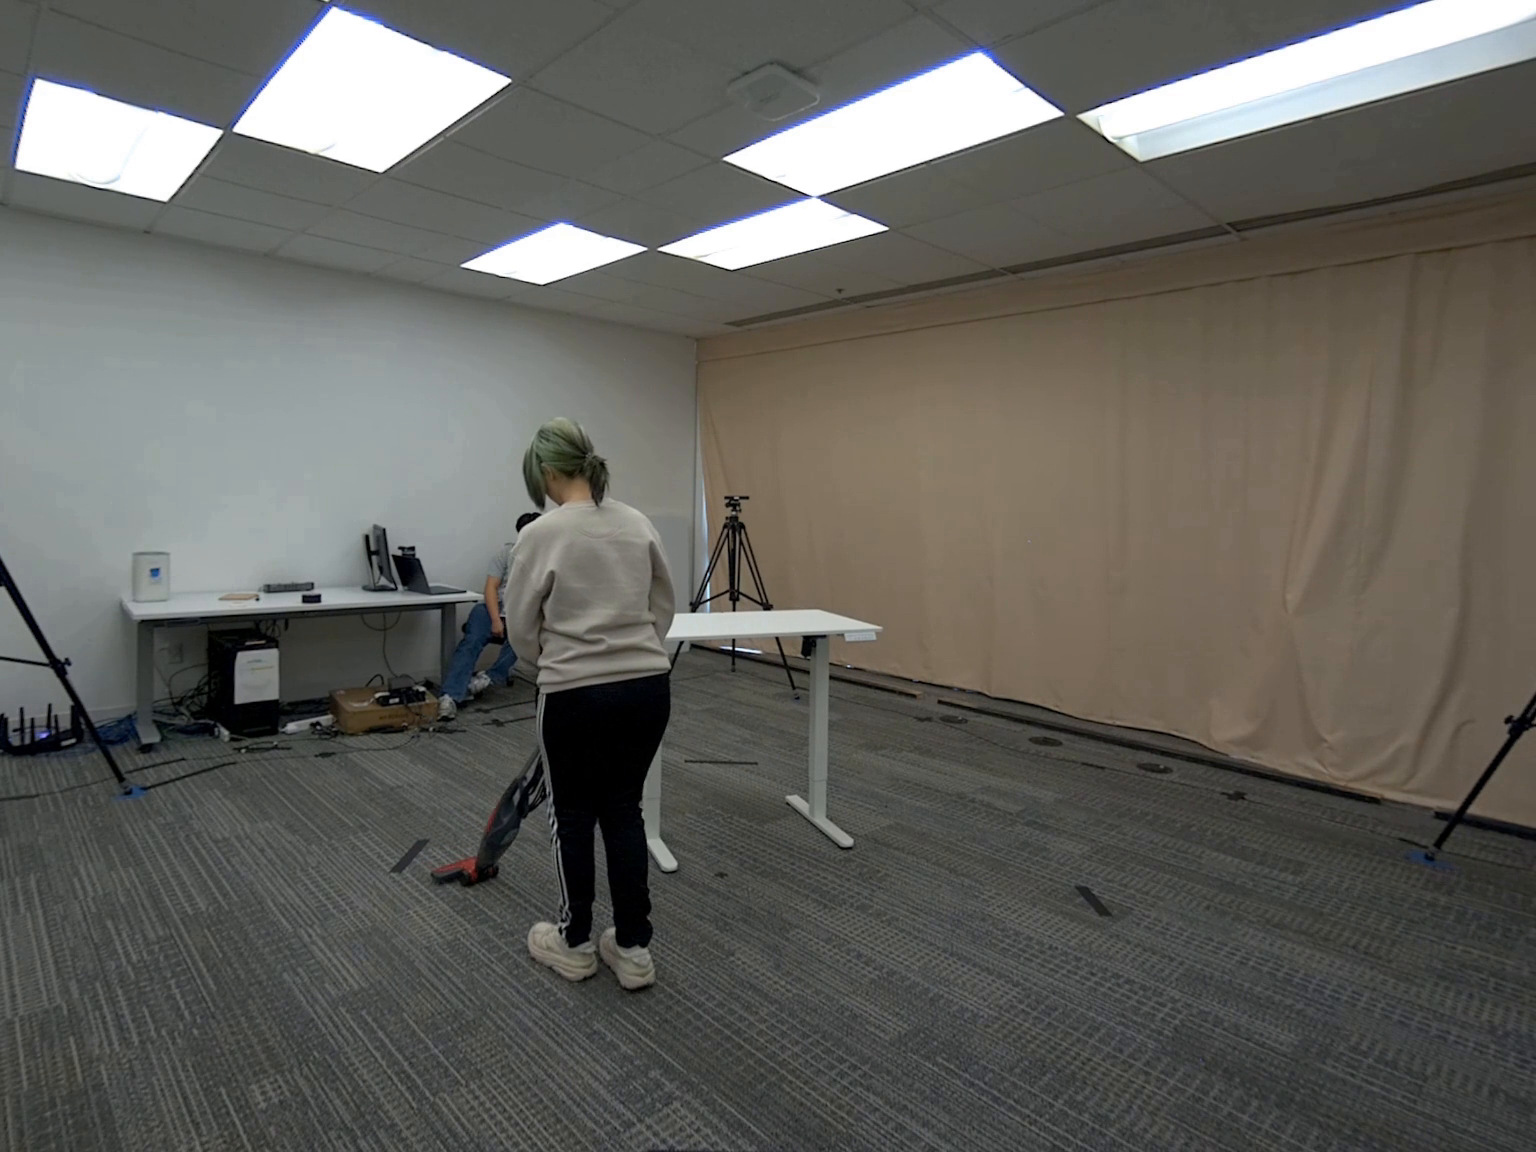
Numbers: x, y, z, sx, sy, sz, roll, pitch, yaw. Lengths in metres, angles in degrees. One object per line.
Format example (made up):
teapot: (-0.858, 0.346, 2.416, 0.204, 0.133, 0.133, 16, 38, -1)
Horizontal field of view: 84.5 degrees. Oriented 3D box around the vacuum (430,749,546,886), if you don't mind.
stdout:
vacuum: (-0.820, 0.717, 2.793, 0.147, 1.045, 0.248, 49, 33, 20)
